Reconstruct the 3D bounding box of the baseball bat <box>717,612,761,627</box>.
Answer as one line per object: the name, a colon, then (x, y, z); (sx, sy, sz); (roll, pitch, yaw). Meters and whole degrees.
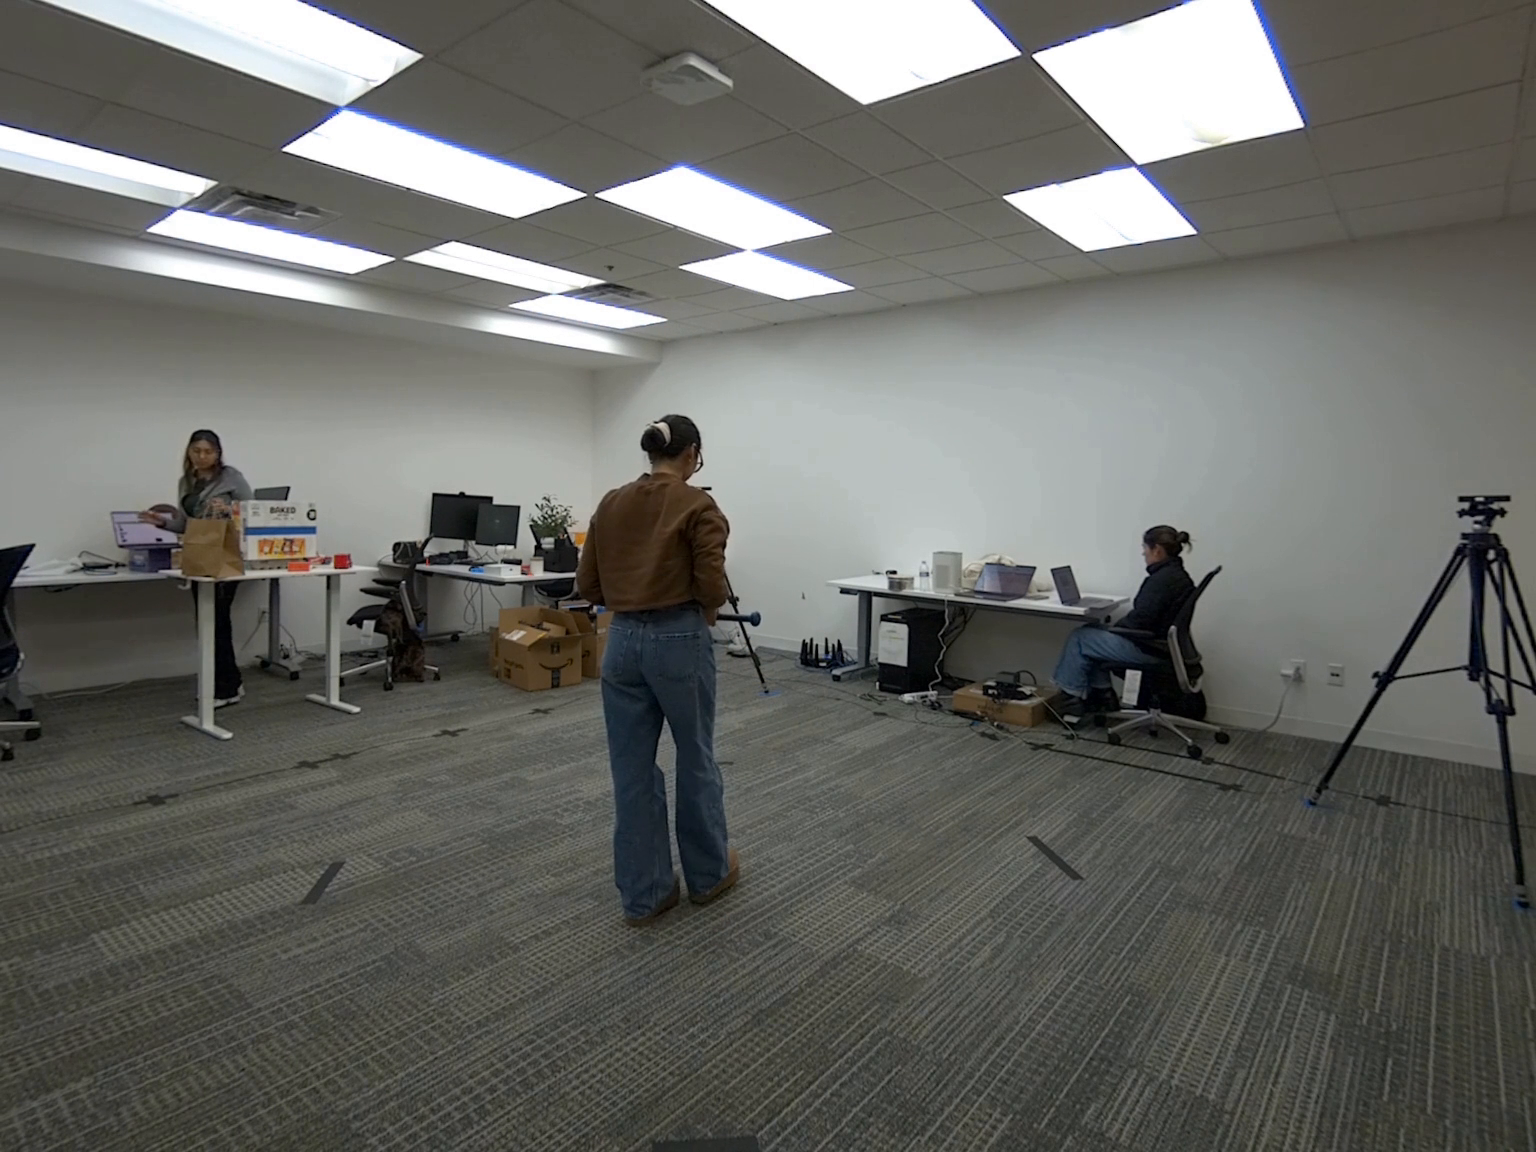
baseball bat: (-0.274, 0.136, 2.948); (0.558, 0.089, 0.087); (0, 3, 30)
